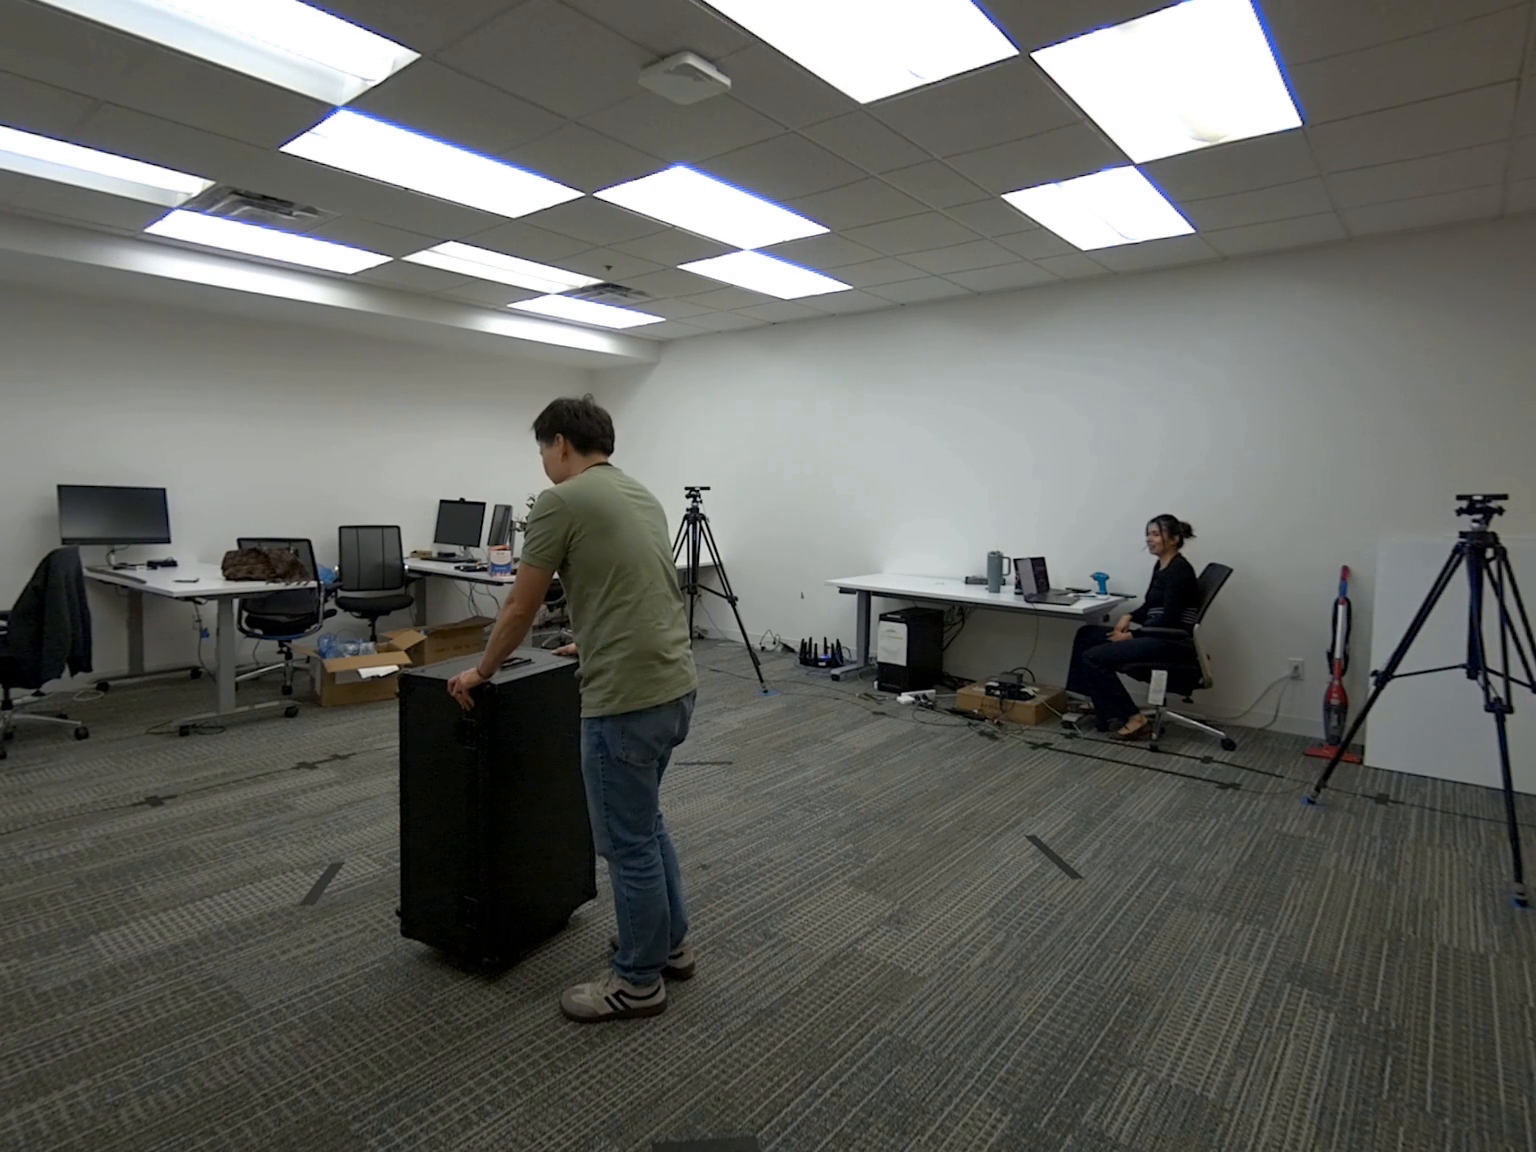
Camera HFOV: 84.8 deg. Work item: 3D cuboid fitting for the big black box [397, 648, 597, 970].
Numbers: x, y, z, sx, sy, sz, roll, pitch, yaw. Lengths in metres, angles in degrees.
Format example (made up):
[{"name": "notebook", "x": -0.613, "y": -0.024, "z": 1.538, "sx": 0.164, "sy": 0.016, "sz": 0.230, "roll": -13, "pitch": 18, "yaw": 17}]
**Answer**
[{"name": "big black box", "x": -0.837, "y": 0.686, "z": 2.594, "sx": 0.407, "sy": 0.859, "sz": 0.509, "roll": 1, "pitch": 3, "yaw": 28}]
